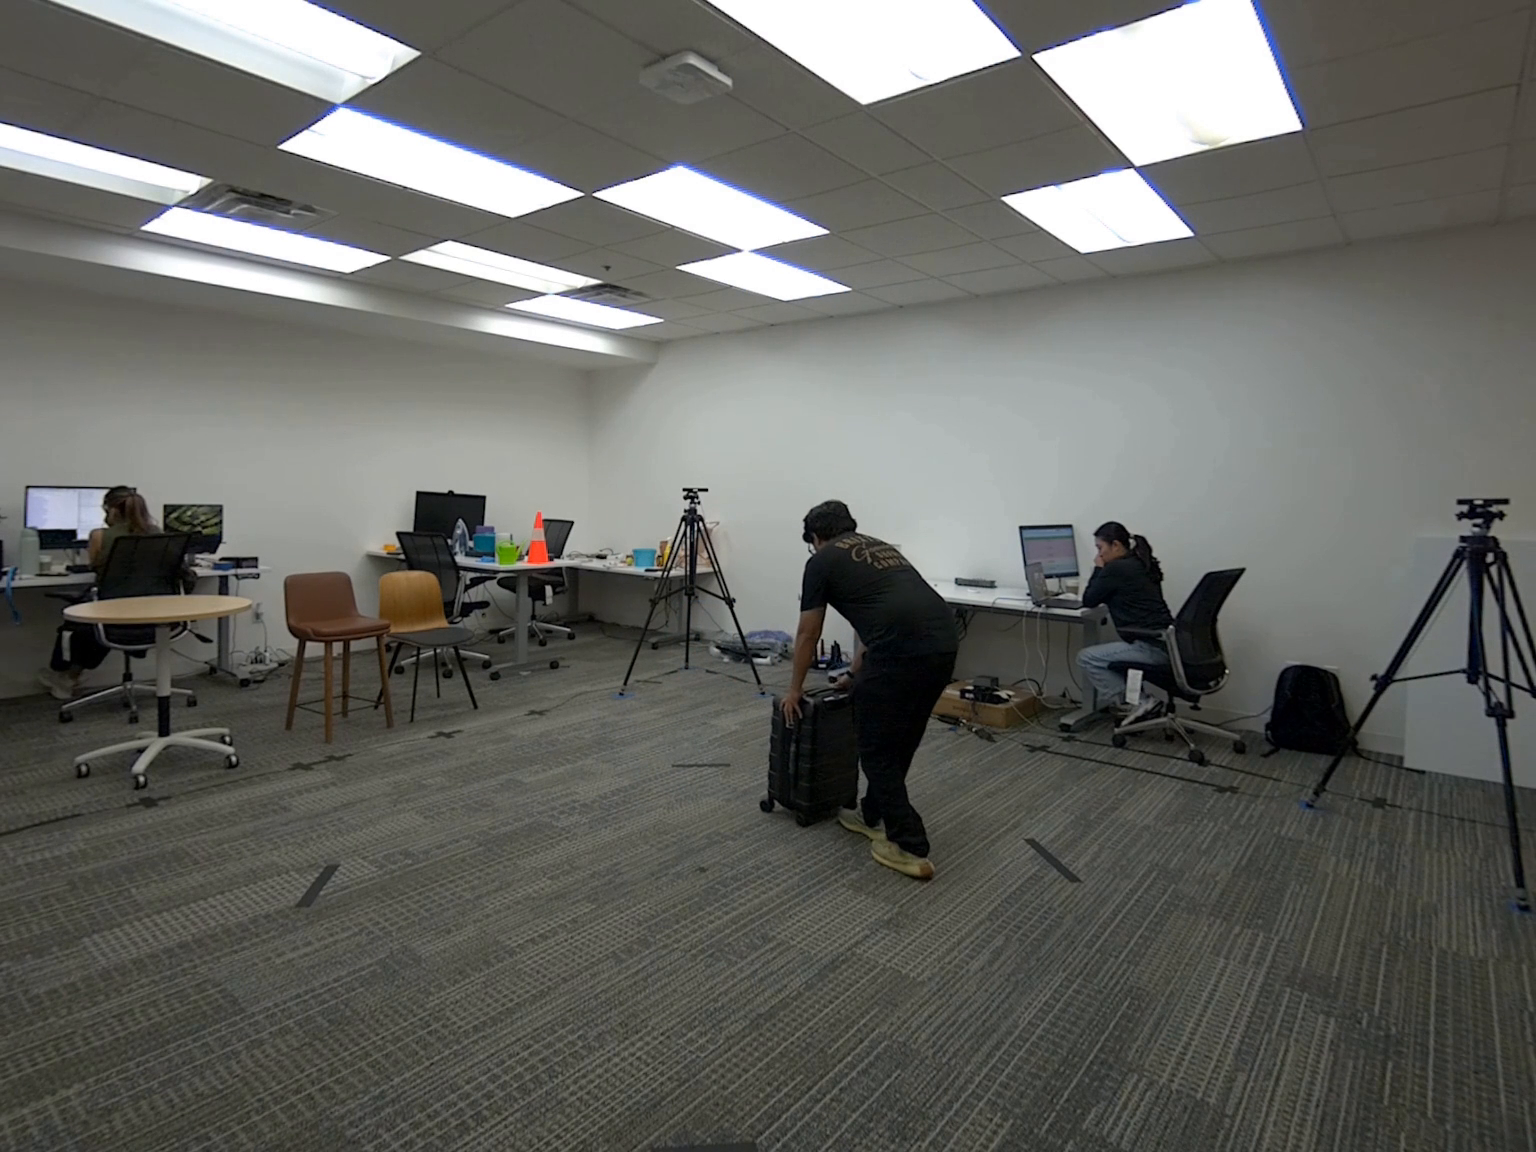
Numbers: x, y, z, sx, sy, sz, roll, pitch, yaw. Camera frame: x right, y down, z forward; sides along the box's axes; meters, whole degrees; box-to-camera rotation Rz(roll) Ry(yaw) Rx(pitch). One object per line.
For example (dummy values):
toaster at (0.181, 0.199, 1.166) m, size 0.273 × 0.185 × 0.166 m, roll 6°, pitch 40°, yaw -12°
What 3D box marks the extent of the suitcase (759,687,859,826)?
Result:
suitcase at (0.188, 0.748, 3.681) m, size 0.364 × 0.547 × 0.257 m, roll -2°, pitch 6°, yaw -41°
